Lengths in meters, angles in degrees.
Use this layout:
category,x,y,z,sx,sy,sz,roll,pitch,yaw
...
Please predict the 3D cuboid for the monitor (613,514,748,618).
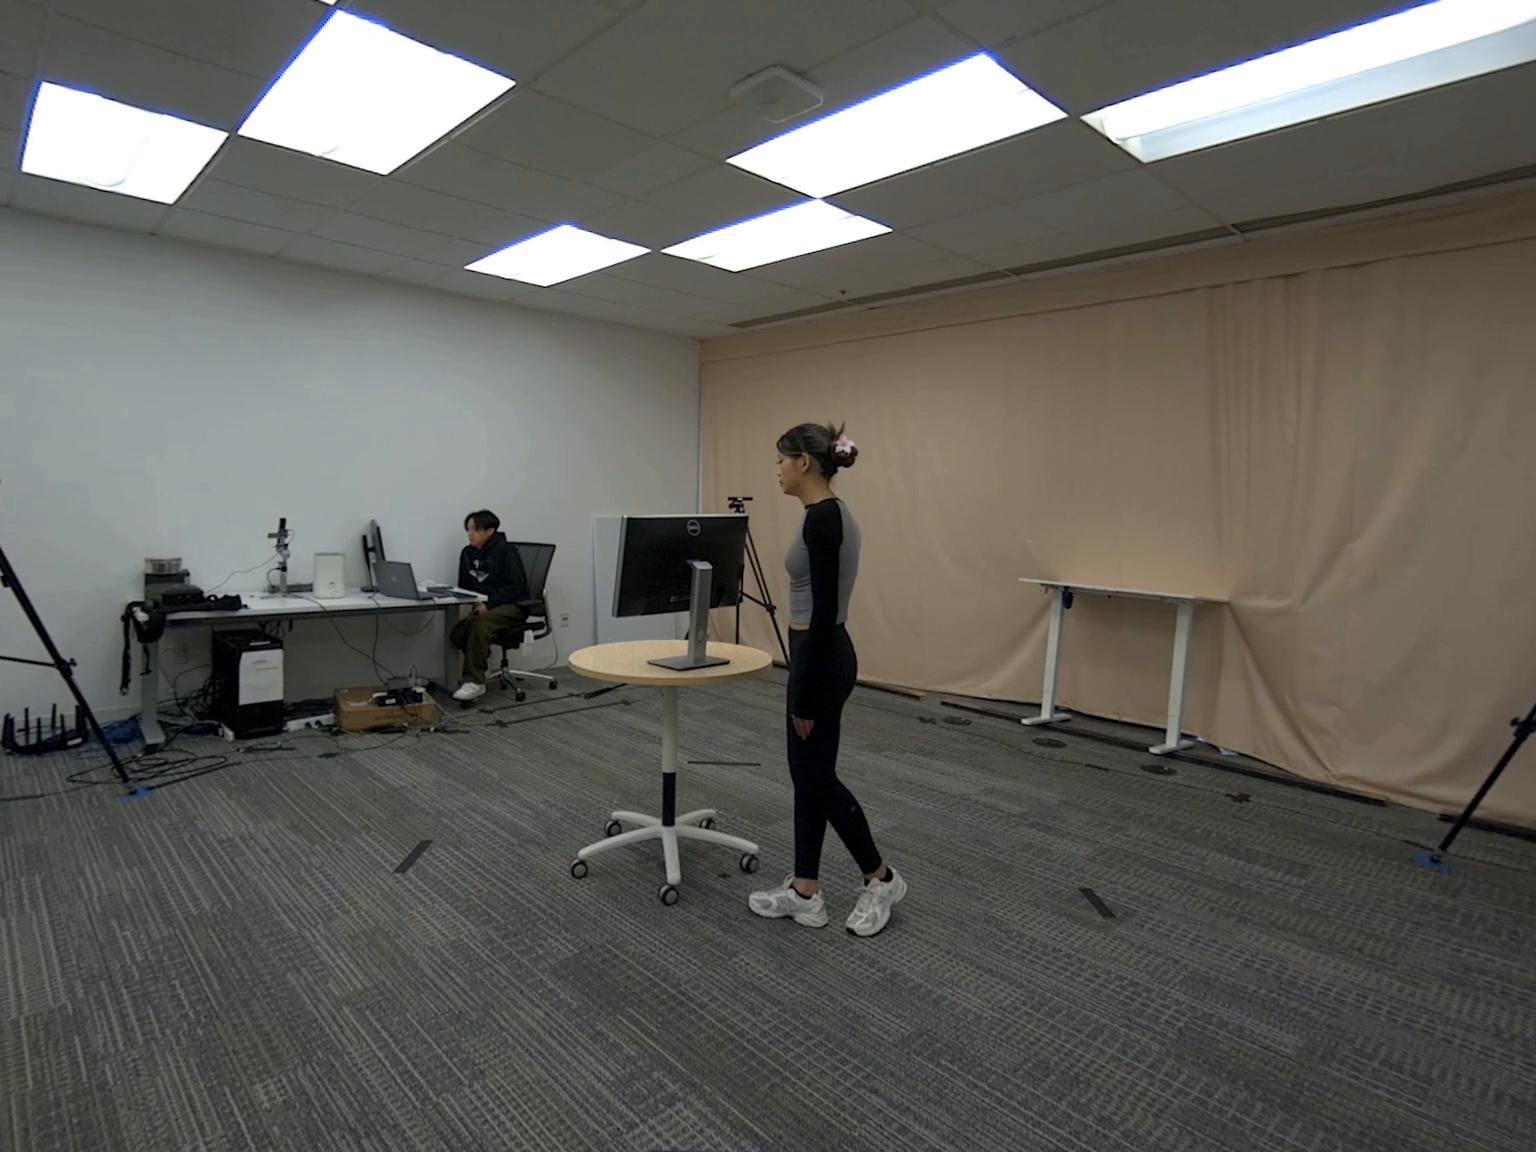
category,x,y,z,sx,sy,sz,roll,pitch,yaw
monitor,-0.289,0.053,3.044,0.527,0.521,0.192,-3,4,-43
